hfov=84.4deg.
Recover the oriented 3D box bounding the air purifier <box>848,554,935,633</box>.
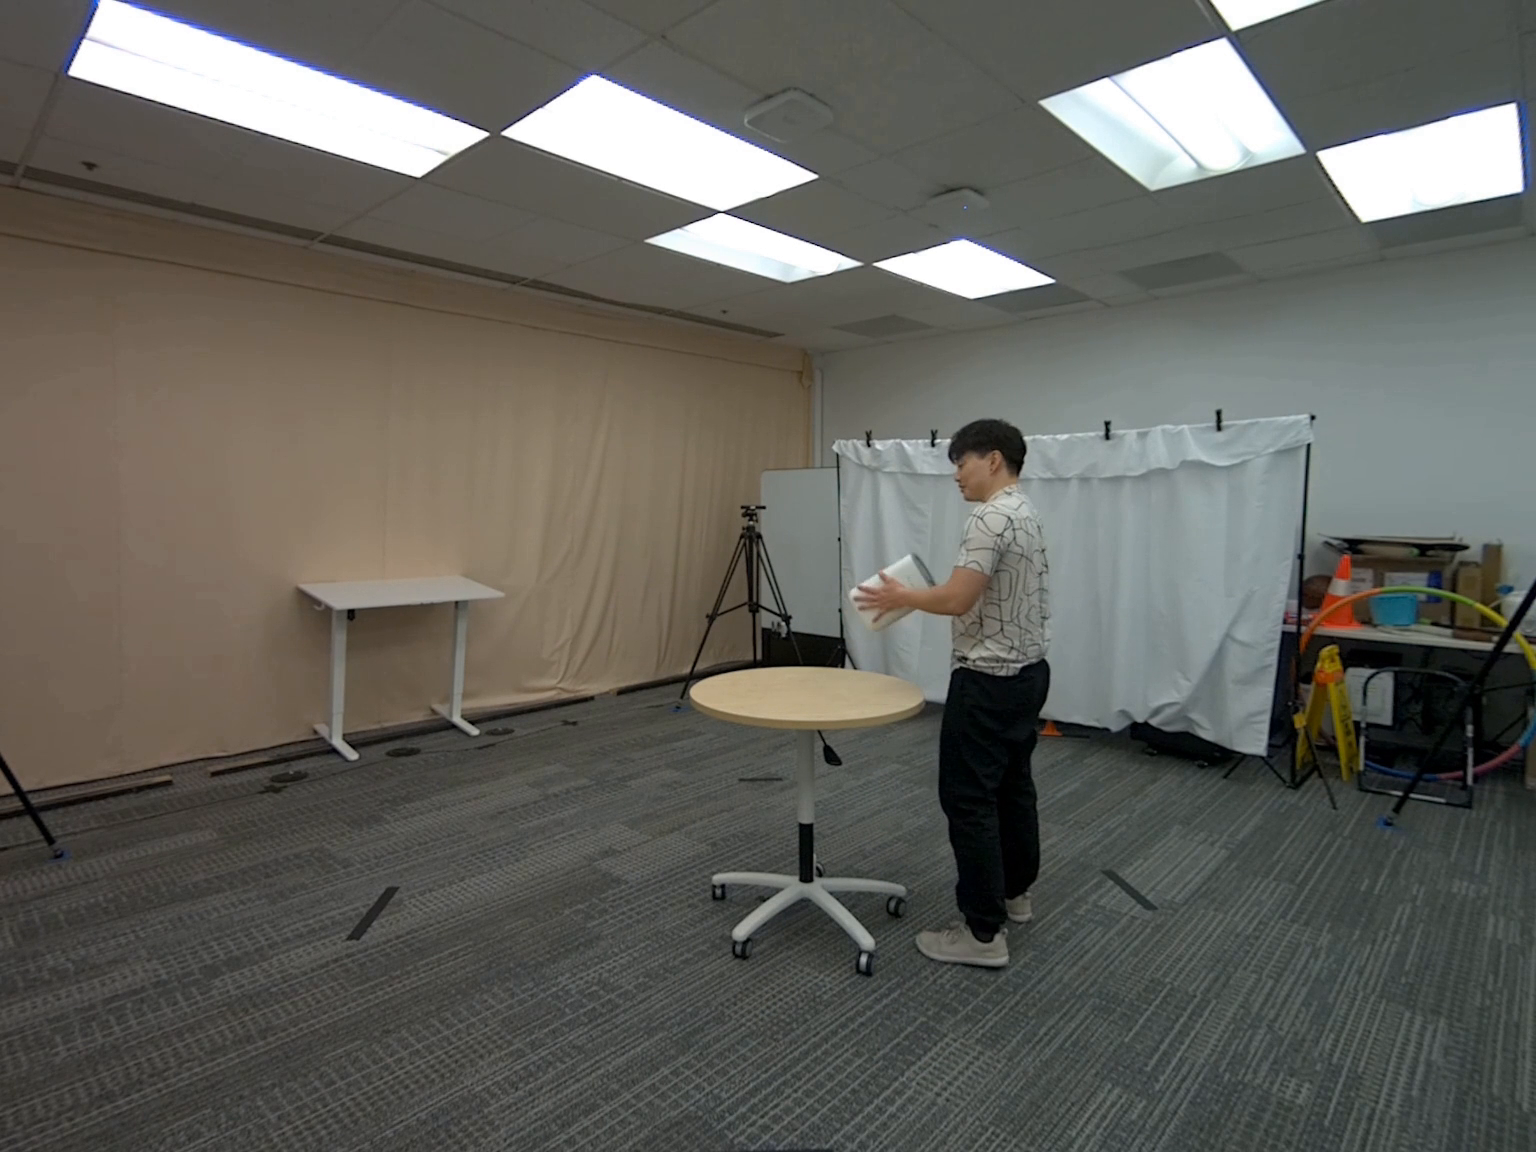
[{"bbox_3d":[0.435,0.065,2.863,0.268,0.172,0.168,-33,-7,17],"label":"air purifier"}]
